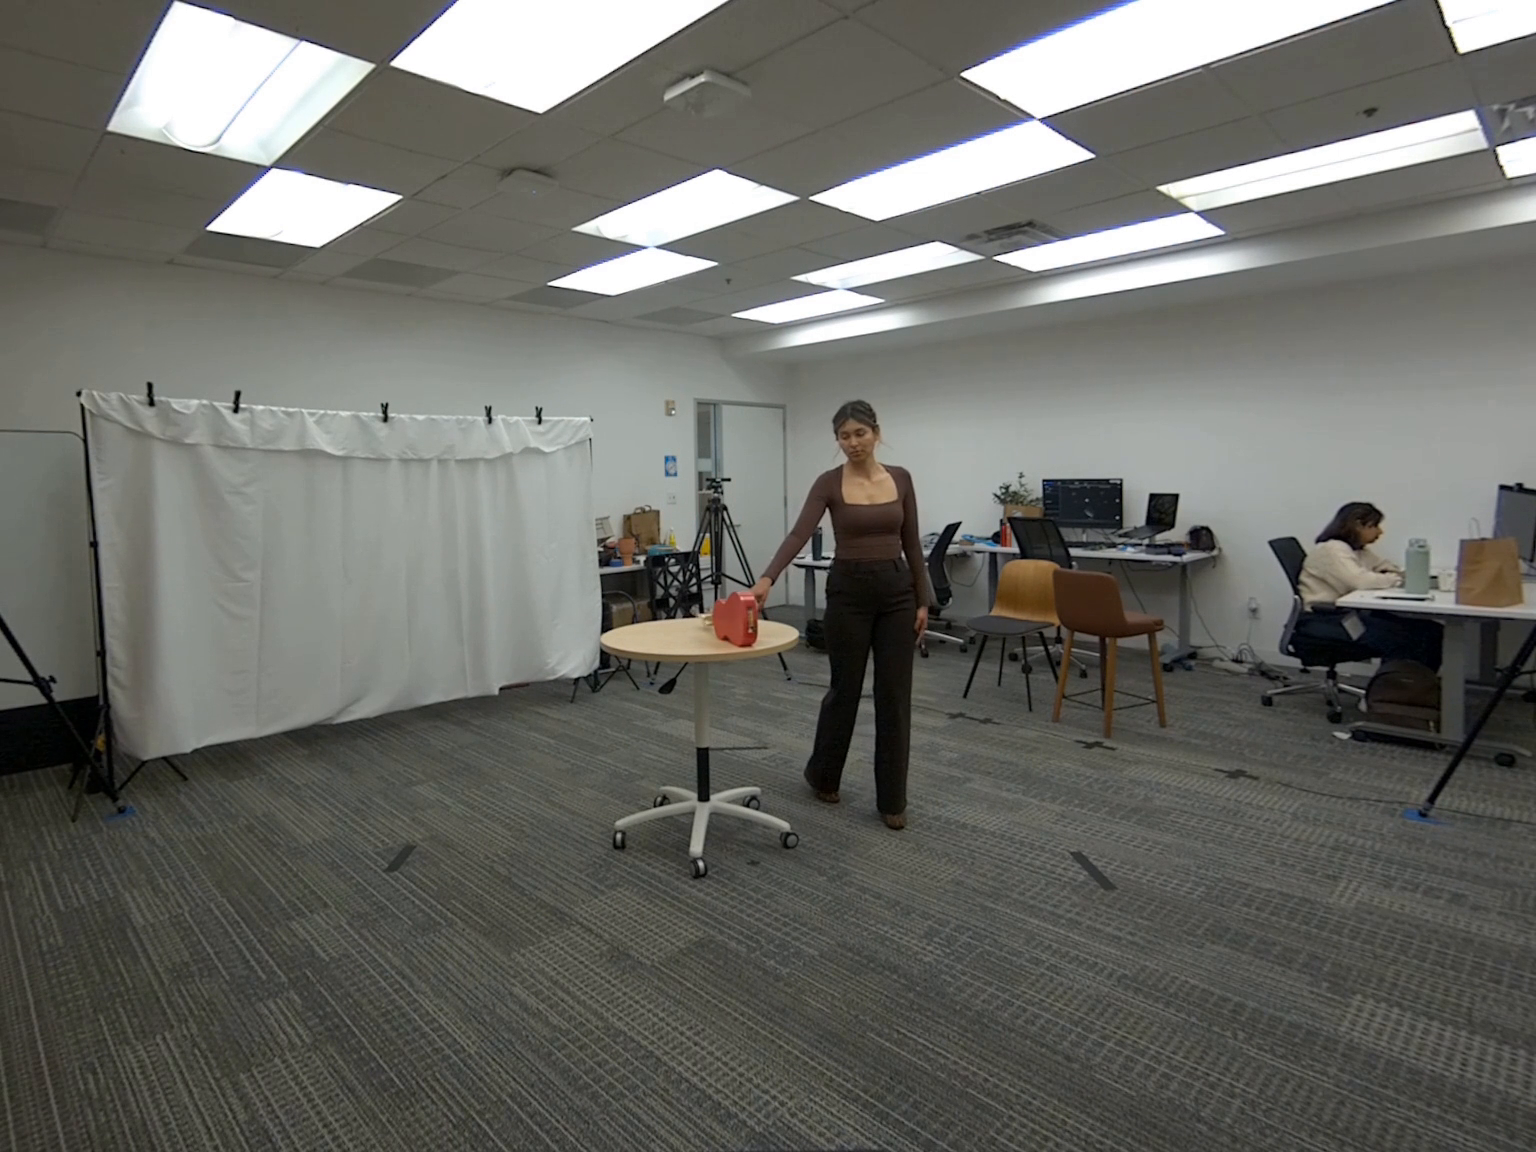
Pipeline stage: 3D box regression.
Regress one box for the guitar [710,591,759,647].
[{"bbox_3d":[-0.166,0.190,3.236,0.069,0.195,0.502,1,-13,-25],"label":"guitar"}]
